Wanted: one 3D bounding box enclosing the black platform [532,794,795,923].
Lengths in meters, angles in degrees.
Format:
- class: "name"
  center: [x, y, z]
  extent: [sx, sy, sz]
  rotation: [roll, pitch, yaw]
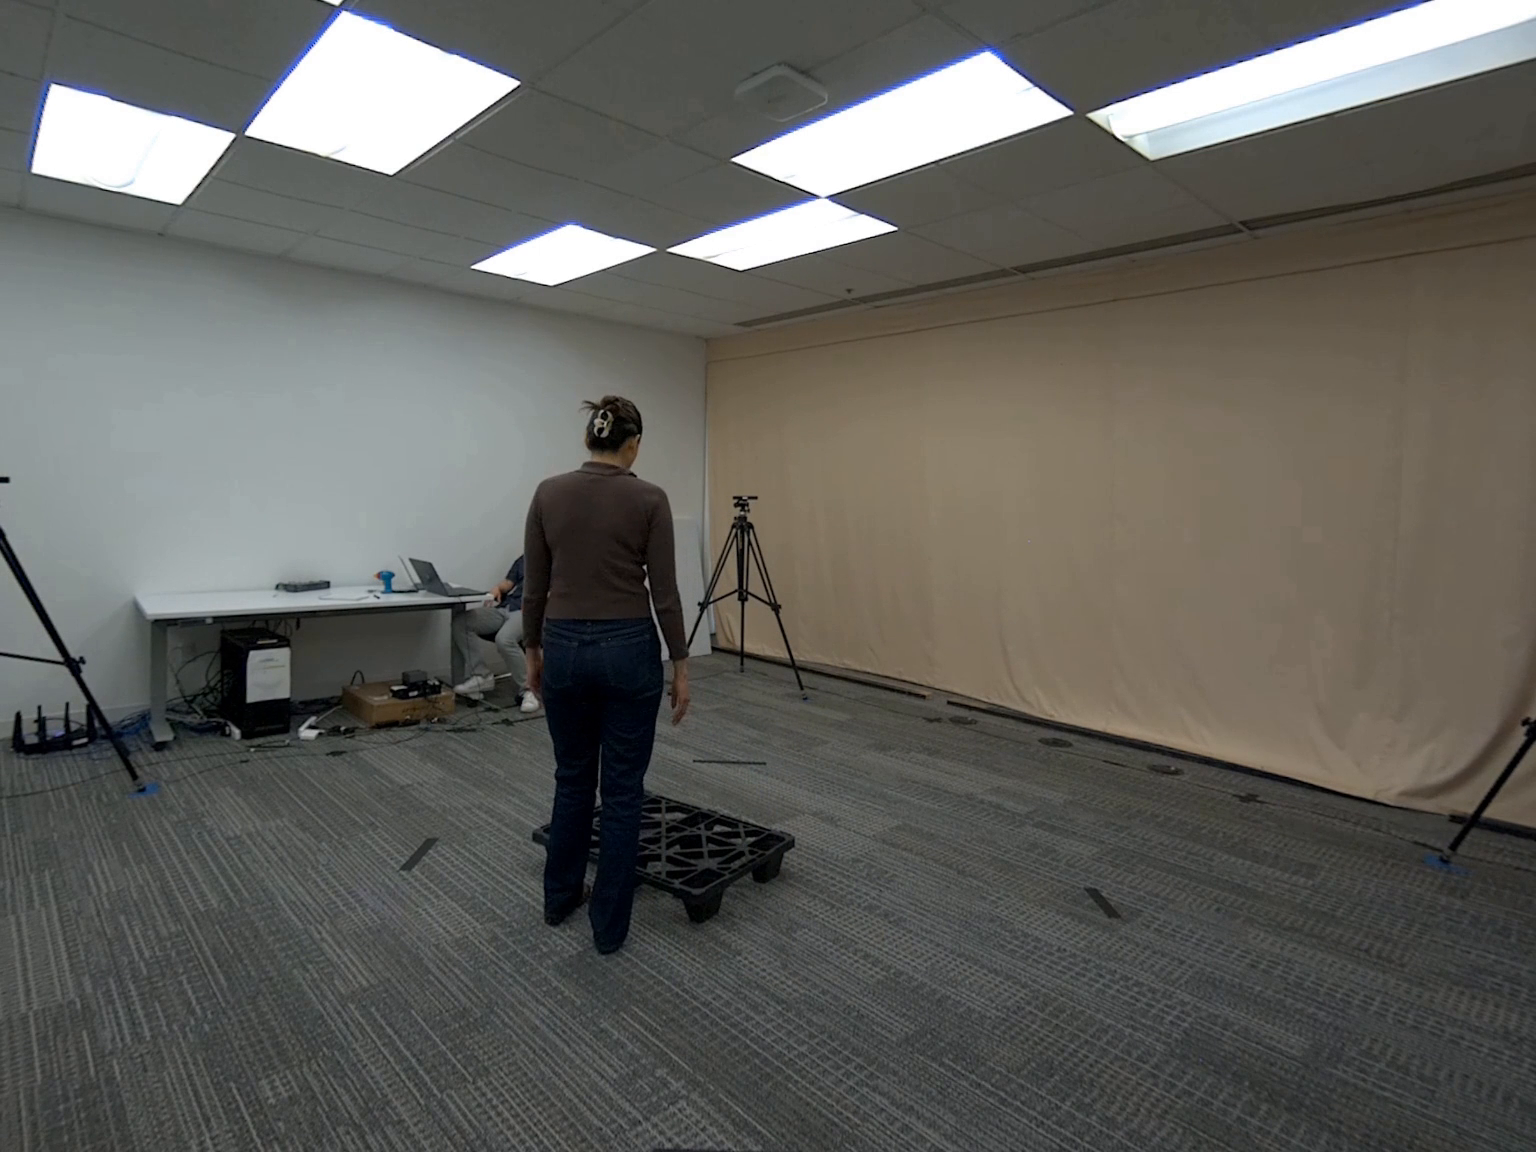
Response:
- class: "black platform"
  center: [-0.396, 1.026, 3.141]
  extent: [0.825, 0.143, 0.592]
  rotation: [5, 6, 35]
